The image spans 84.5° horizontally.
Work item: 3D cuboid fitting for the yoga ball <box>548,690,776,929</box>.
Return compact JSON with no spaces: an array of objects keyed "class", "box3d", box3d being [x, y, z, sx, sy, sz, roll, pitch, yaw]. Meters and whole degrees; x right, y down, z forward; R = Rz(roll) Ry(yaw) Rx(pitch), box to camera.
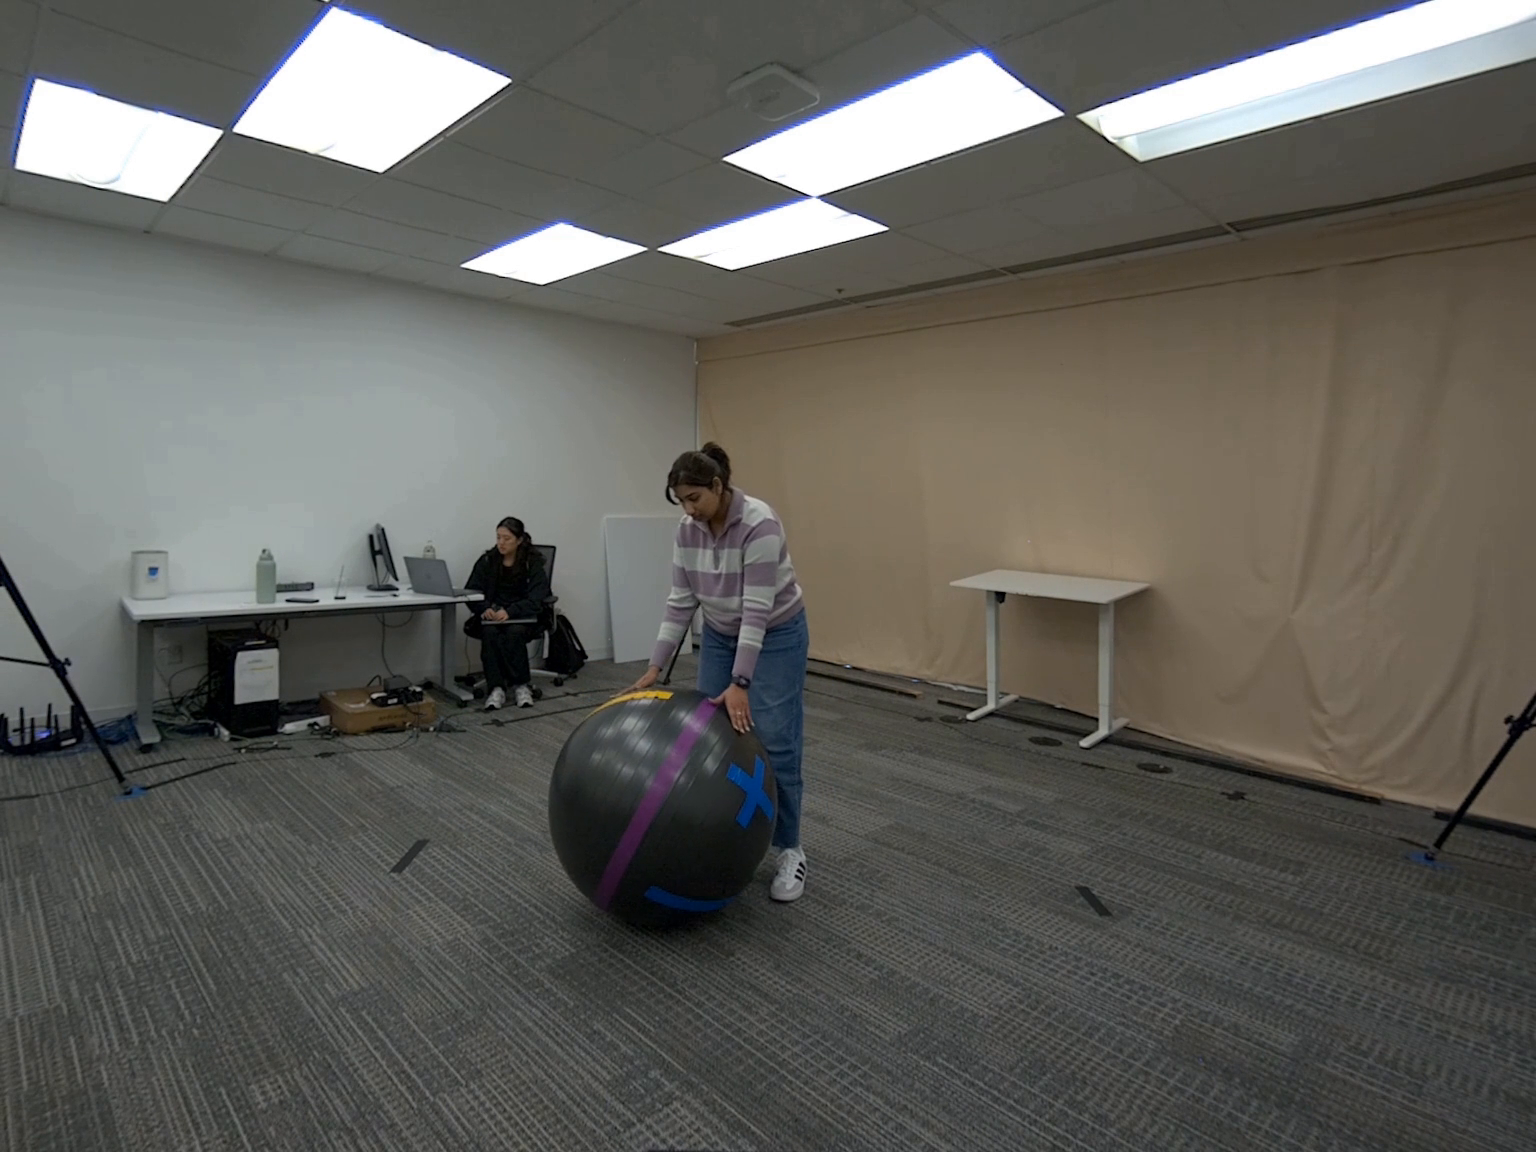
[{"class":"yoga ball","box3d":[-0.355,0.760,2.792,0.757,0.756,0.761,1,4,-1]}]
